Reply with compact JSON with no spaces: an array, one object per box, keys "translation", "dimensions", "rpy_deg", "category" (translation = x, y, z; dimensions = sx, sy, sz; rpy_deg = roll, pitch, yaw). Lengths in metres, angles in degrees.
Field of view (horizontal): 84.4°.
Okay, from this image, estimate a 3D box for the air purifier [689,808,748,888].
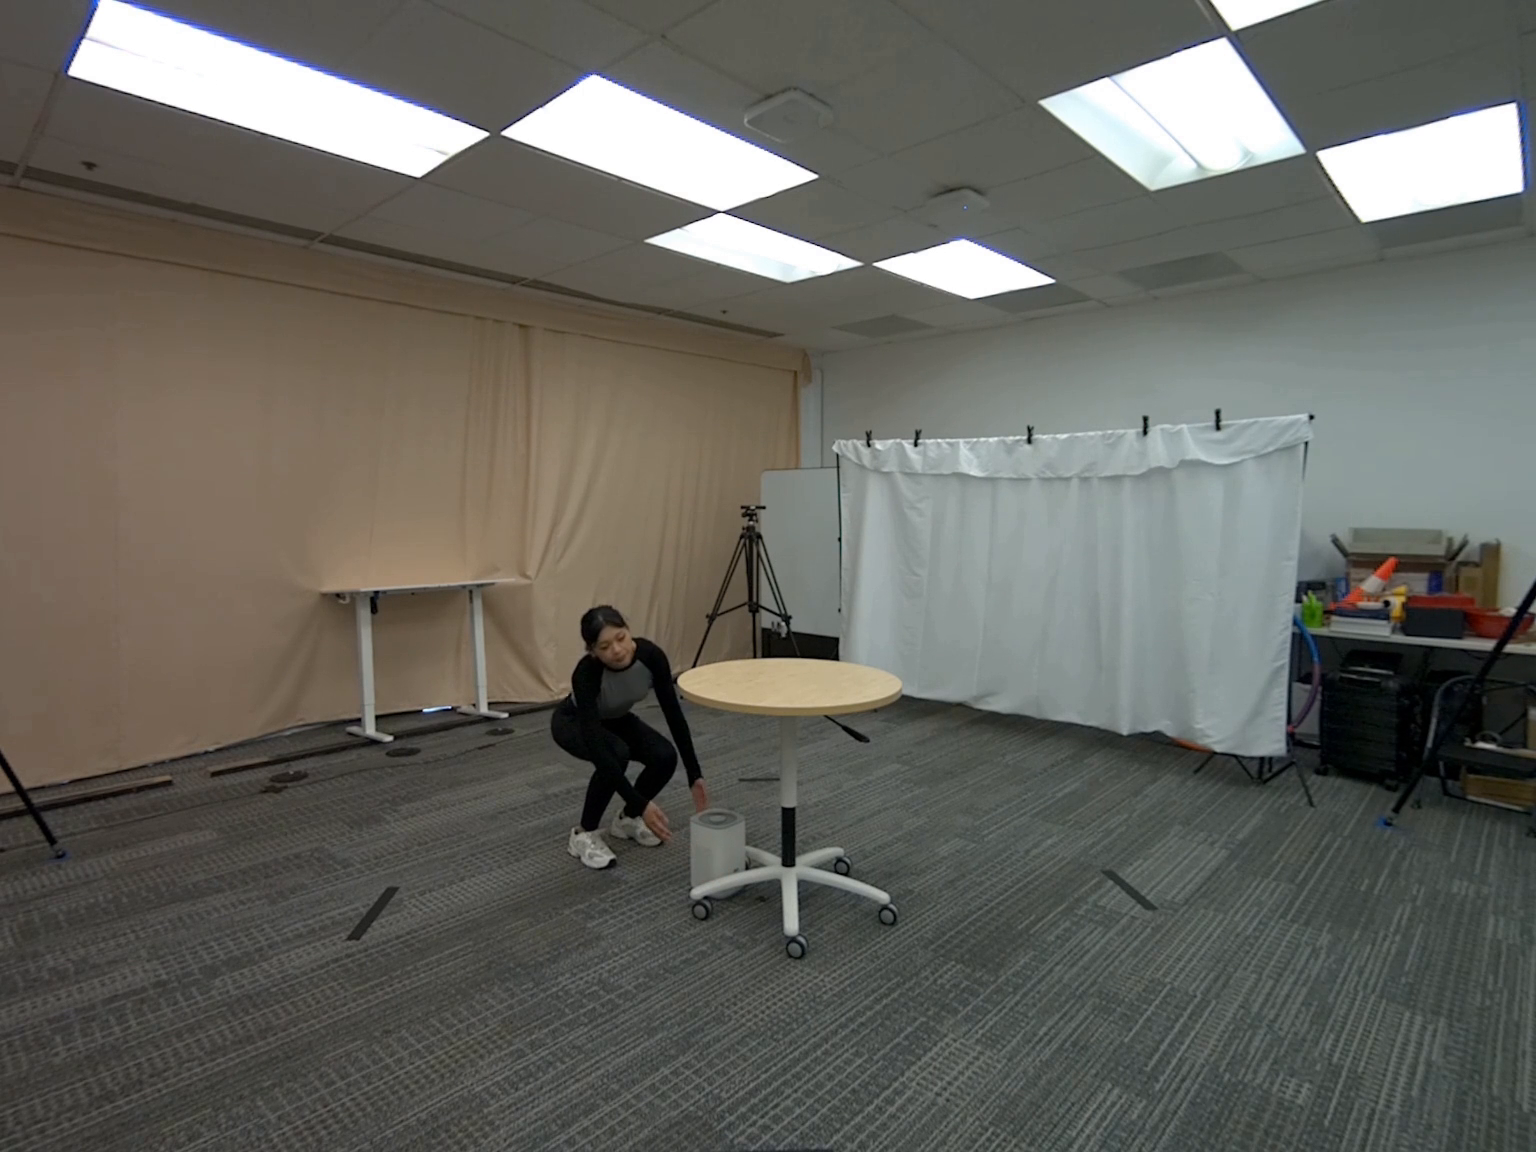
[{"translation":[-0.185,1.005,3.050],"dimensions":[0.177,0.265,0.166],"rpy_deg":[3,4,38],"category":"air purifier"}]
